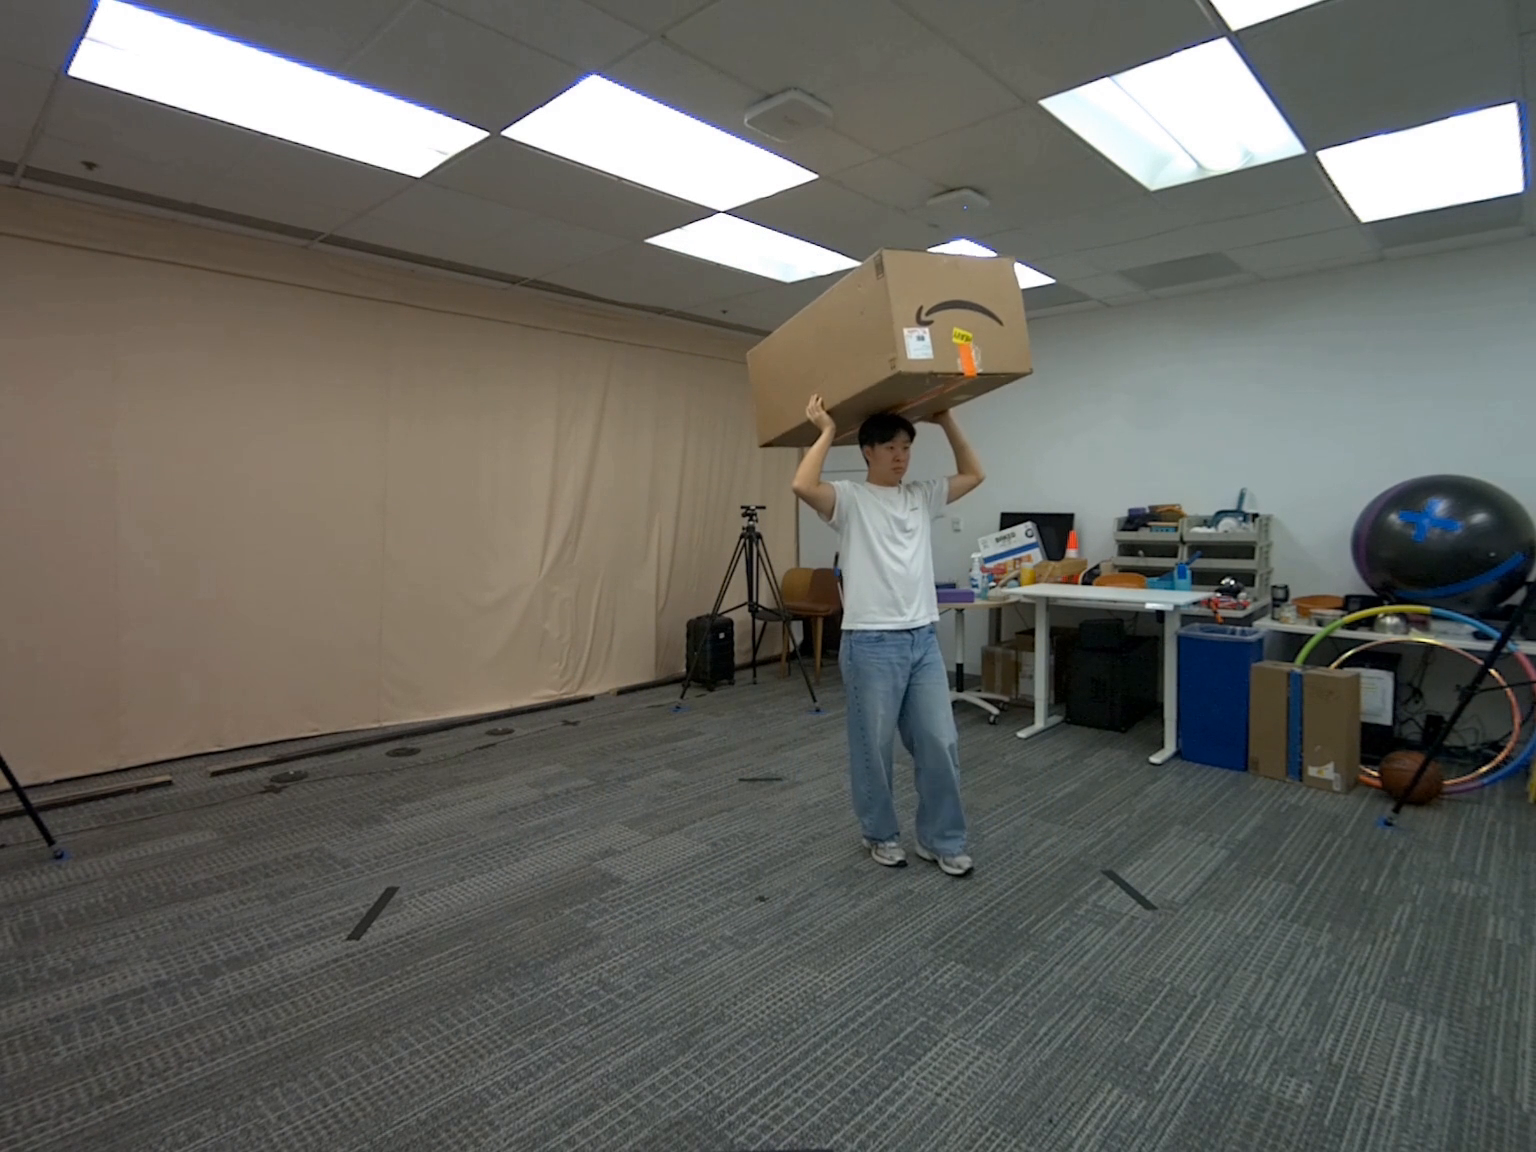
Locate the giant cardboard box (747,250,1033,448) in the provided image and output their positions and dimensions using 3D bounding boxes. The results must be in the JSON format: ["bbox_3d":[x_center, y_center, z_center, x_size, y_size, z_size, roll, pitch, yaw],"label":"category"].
[{"bbox_3d":[0.417,-0.831,3.296,0.564,0.427,1.047,-6,-3,-27],"label":"giant cardboard box"}]
